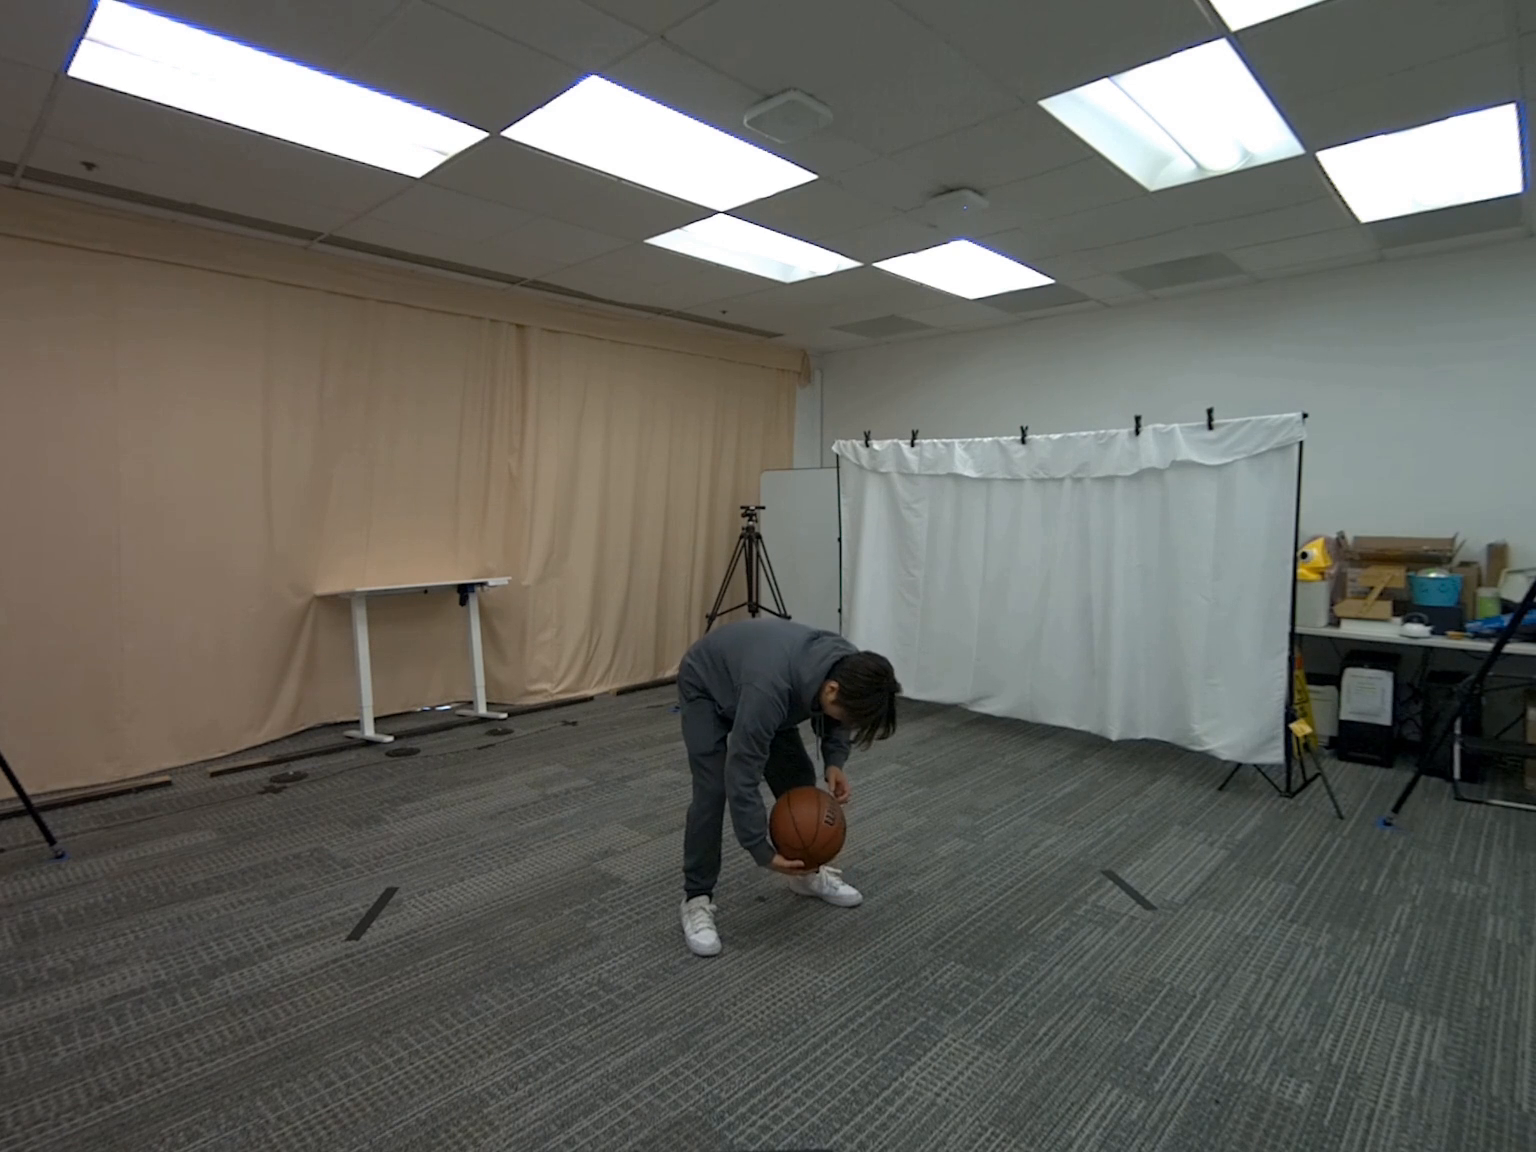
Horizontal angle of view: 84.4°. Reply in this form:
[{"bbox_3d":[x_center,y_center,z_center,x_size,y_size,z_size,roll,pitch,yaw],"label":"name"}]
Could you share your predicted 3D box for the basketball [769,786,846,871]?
[{"bbox_3d":[0.121,0.770,2.582,0.236,0.235,0.237,0,4,-2],"label":"basketball"}]
